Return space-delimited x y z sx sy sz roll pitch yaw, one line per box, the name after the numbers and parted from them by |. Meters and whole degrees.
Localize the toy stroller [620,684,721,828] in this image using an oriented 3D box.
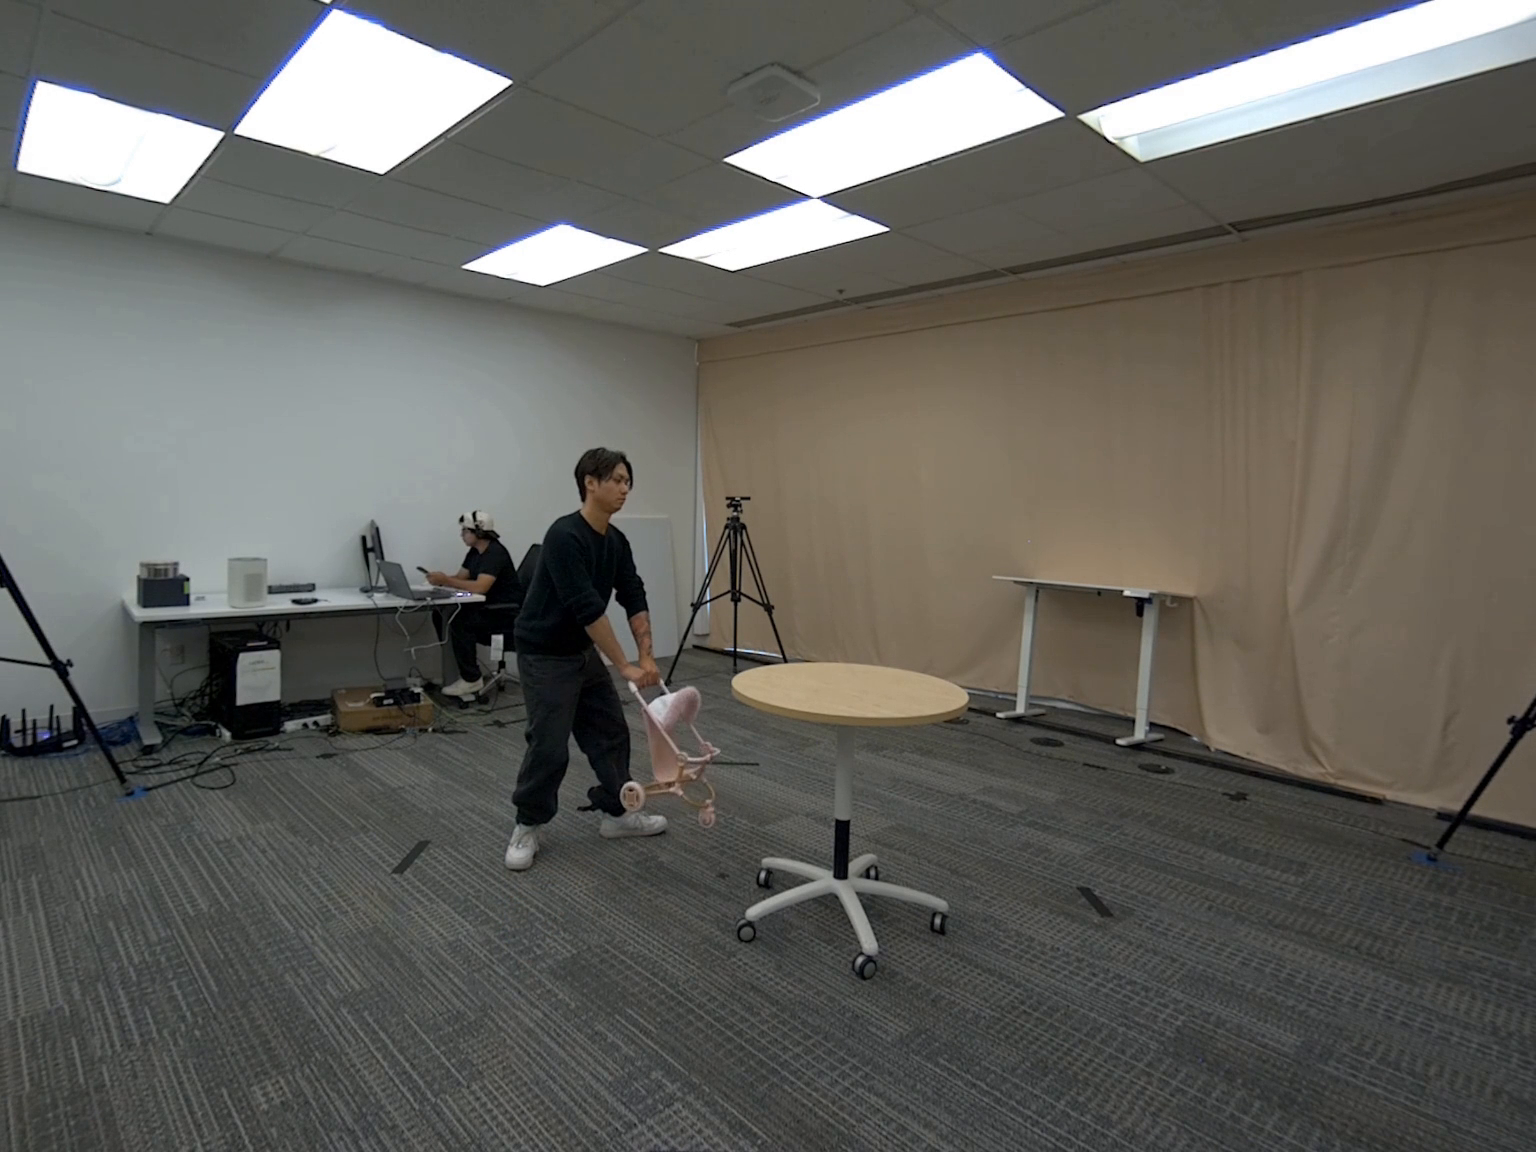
-0.345 0.645 3.095 0.348 0.536 0.275 0 -2 31 | toy stroller
